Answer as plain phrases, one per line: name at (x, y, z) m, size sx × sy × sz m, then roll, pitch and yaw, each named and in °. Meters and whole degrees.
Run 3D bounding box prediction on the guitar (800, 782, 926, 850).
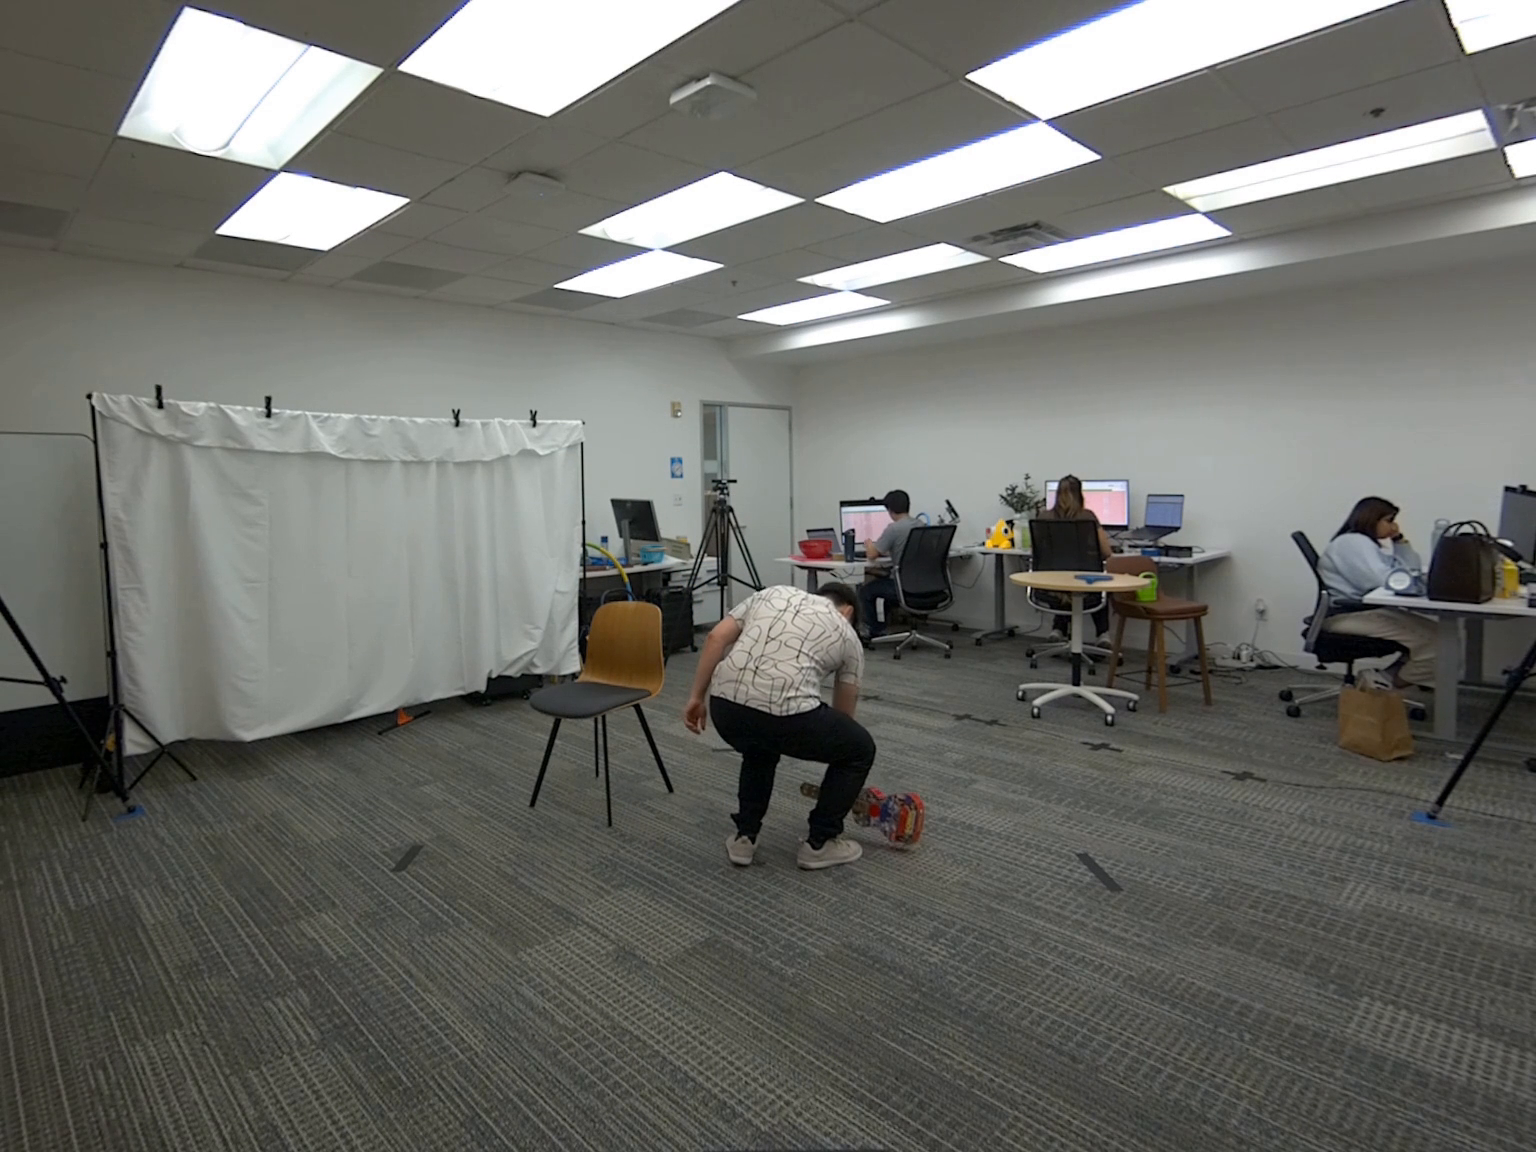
guitar at (0.362, 0.850, 3.305) m, size 0.515 × 0.193 × 0.068 m, roll 19°, pitch 1°, yaw 36°
